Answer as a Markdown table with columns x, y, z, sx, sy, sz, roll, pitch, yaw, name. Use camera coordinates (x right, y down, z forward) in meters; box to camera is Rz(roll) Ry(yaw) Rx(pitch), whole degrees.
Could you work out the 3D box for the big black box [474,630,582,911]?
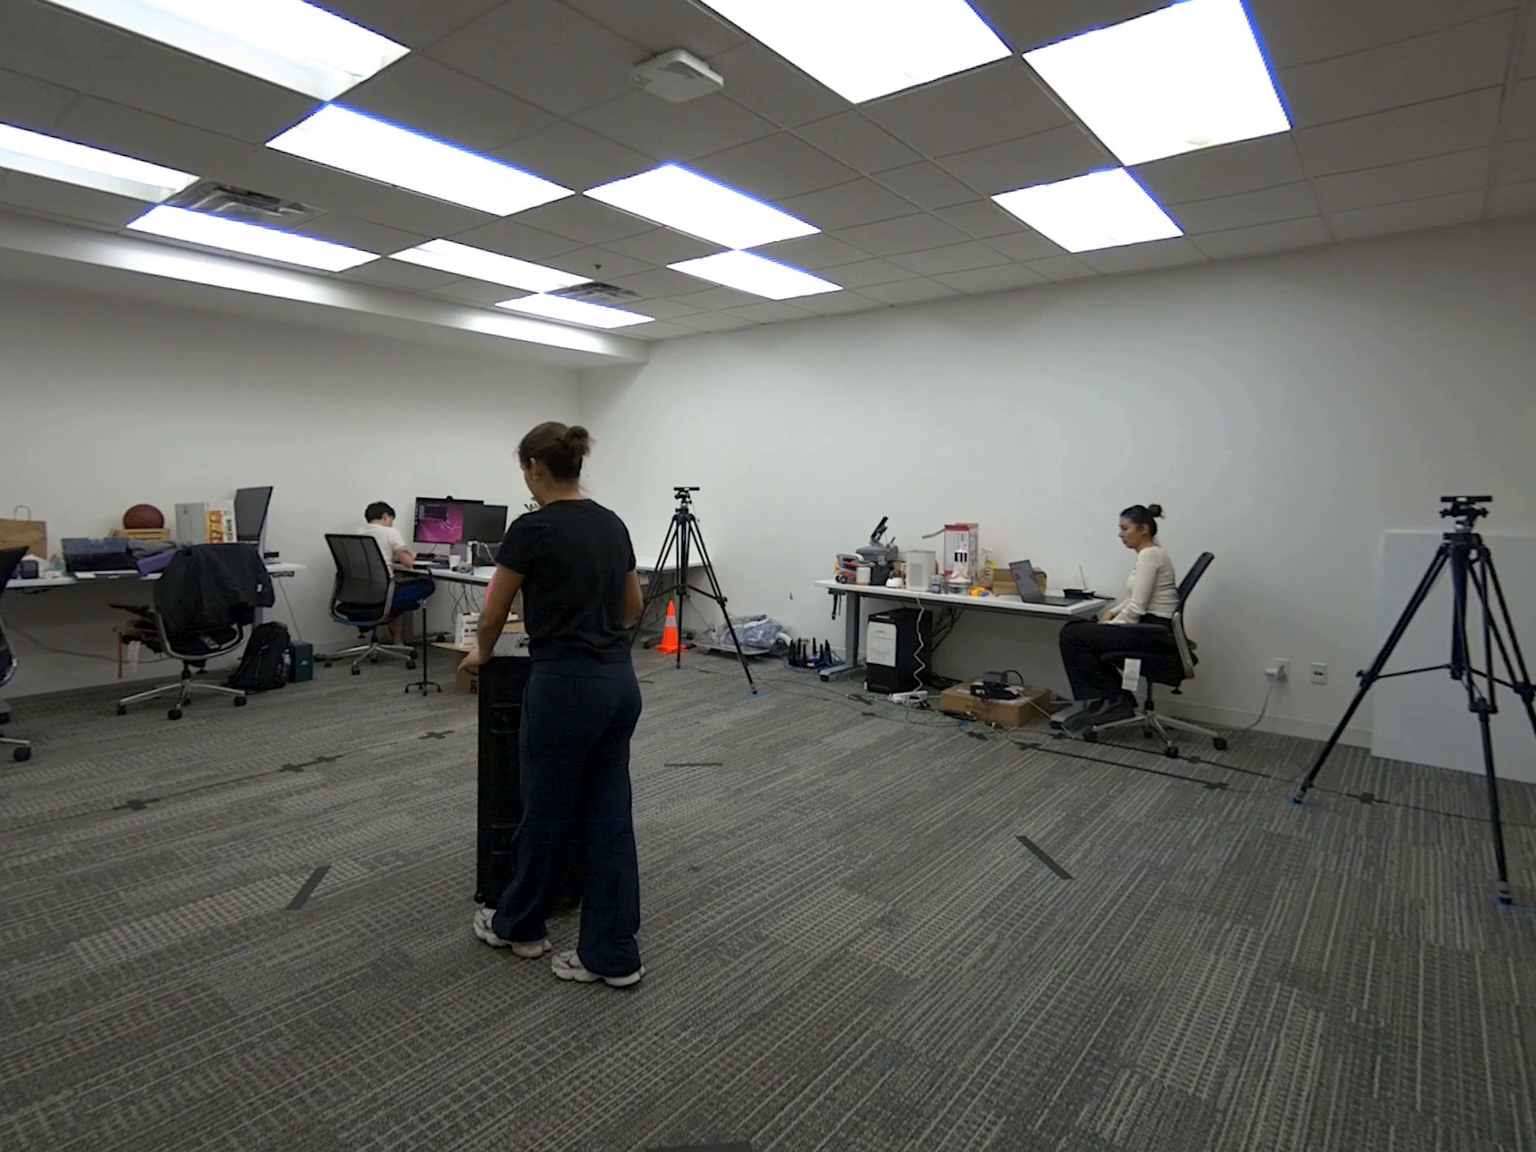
| x | y | z | sx | sy | sz | roll | pitch | yaw | name |
| --- | --- | --- | --- | --- | --- | --- | --- | --- | --- |
| -0.782 | 0.652 | 2.953 | 0.392 | 0.859 | 0.529 | 1 | 3 | -12 | big black box |
